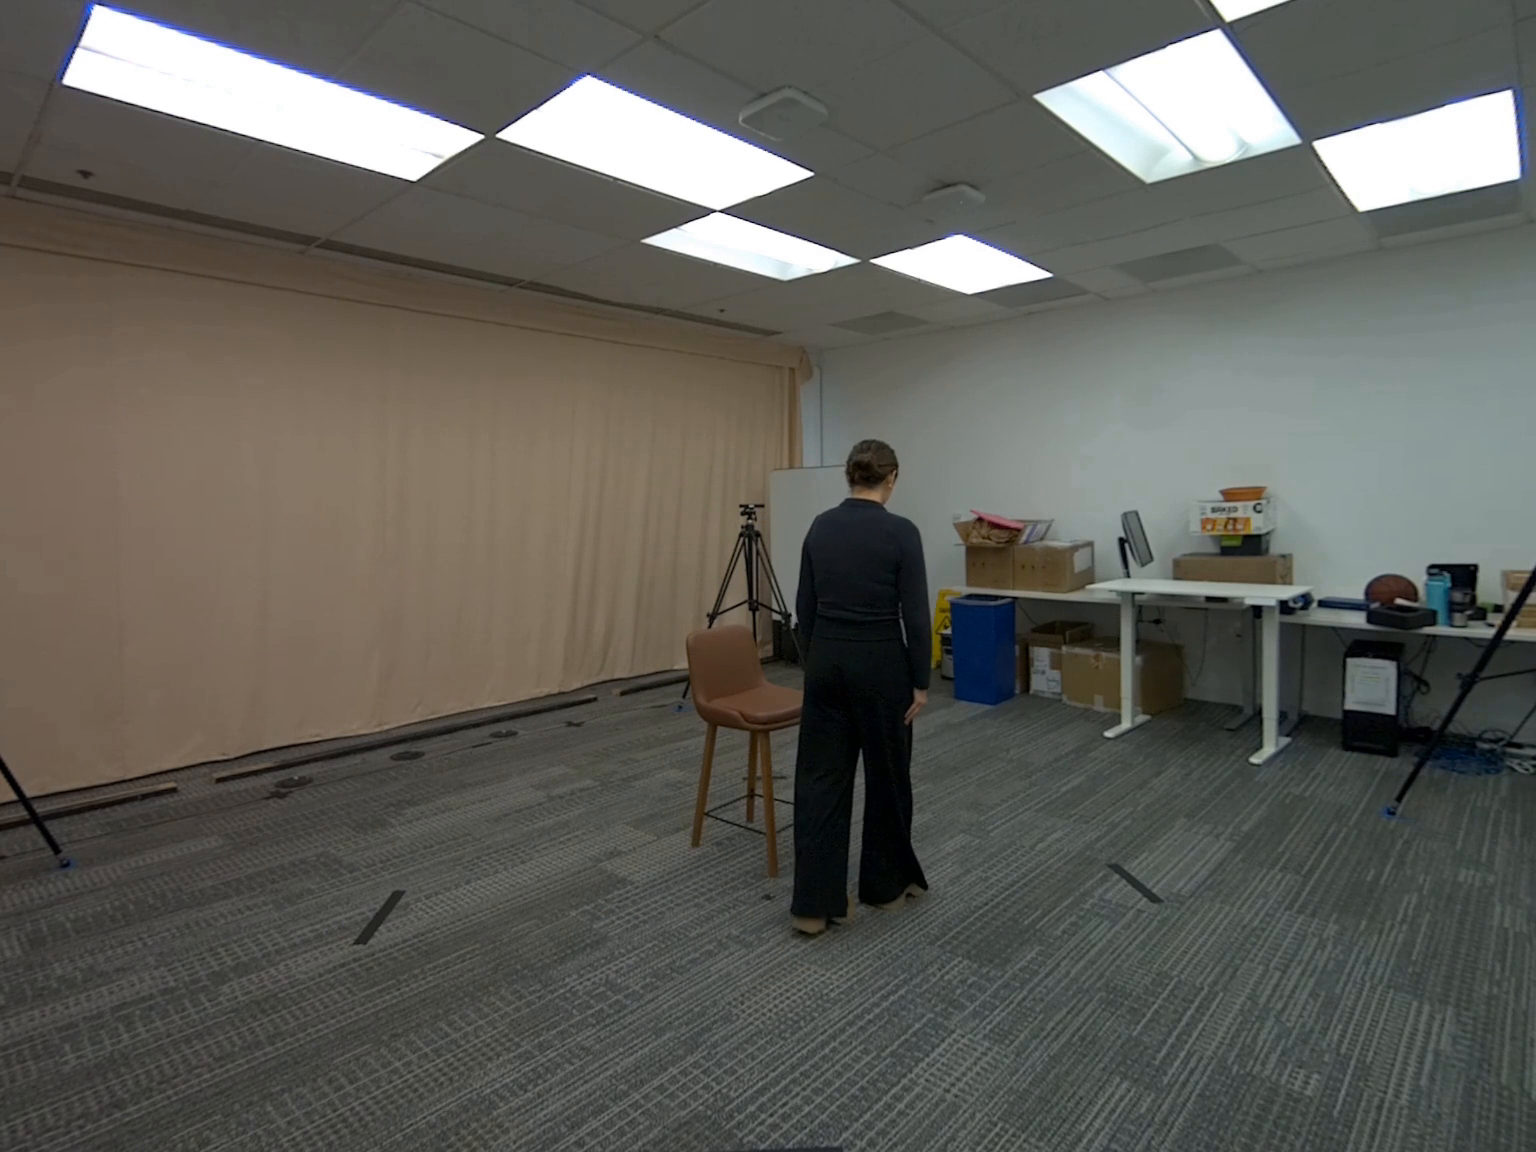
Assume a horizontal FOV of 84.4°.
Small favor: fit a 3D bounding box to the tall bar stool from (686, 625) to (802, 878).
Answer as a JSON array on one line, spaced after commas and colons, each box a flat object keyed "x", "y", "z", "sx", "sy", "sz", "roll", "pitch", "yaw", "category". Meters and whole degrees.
[{"x": -0.037, "y": 0.667, "z": 3.418, "sx": 0.482, "sy": 0.889, "sz": 0.443, "roll": -1, "pitch": 3, "yaw": 41, "category": "tall bar stool"}]
